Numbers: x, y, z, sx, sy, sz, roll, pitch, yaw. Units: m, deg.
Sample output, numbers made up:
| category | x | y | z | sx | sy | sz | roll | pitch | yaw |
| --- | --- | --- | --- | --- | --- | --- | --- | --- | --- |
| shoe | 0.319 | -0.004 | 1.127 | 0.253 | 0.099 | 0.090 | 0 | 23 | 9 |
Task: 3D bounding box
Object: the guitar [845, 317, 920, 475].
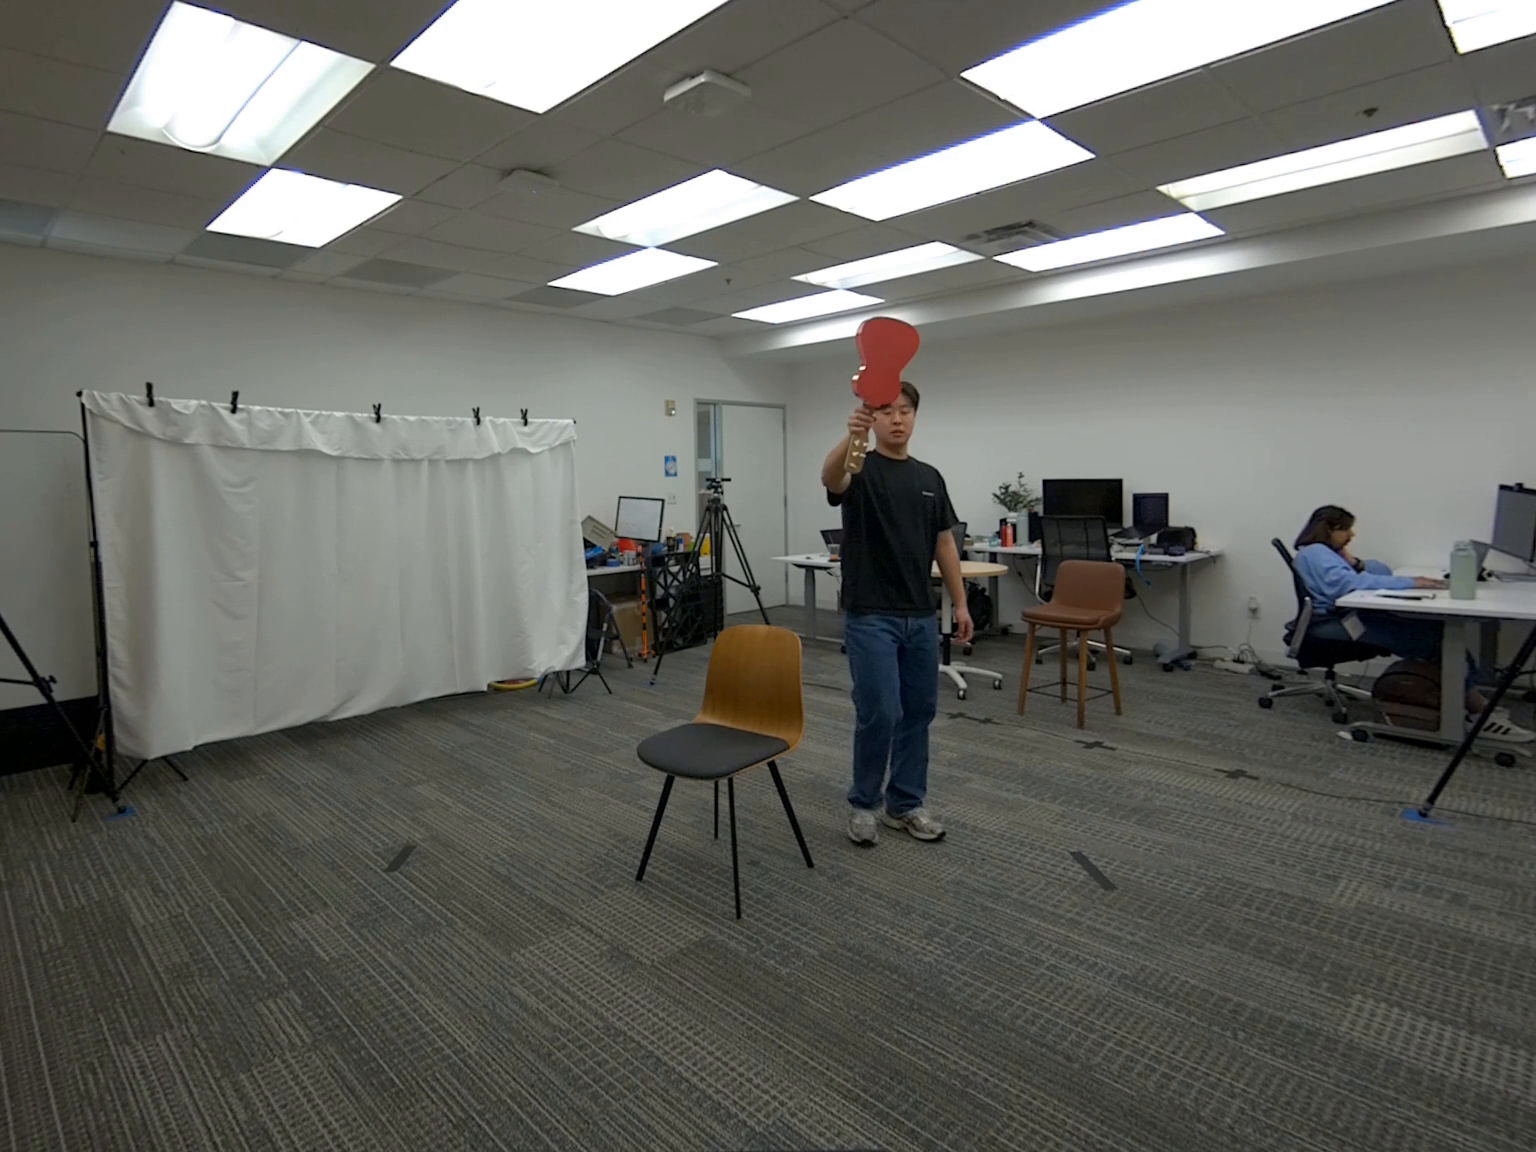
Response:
| category | x | y | z | sx | sy | sz | roll | pitch | yaw |
| --- | --- | --- | --- | --- | --- | --- | --- | --- | --- |
| guitar | 0.360 | -0.570 | 2.736 | 0.191 | 0.493 | 0.072 | 3 | 11 | -9 |
